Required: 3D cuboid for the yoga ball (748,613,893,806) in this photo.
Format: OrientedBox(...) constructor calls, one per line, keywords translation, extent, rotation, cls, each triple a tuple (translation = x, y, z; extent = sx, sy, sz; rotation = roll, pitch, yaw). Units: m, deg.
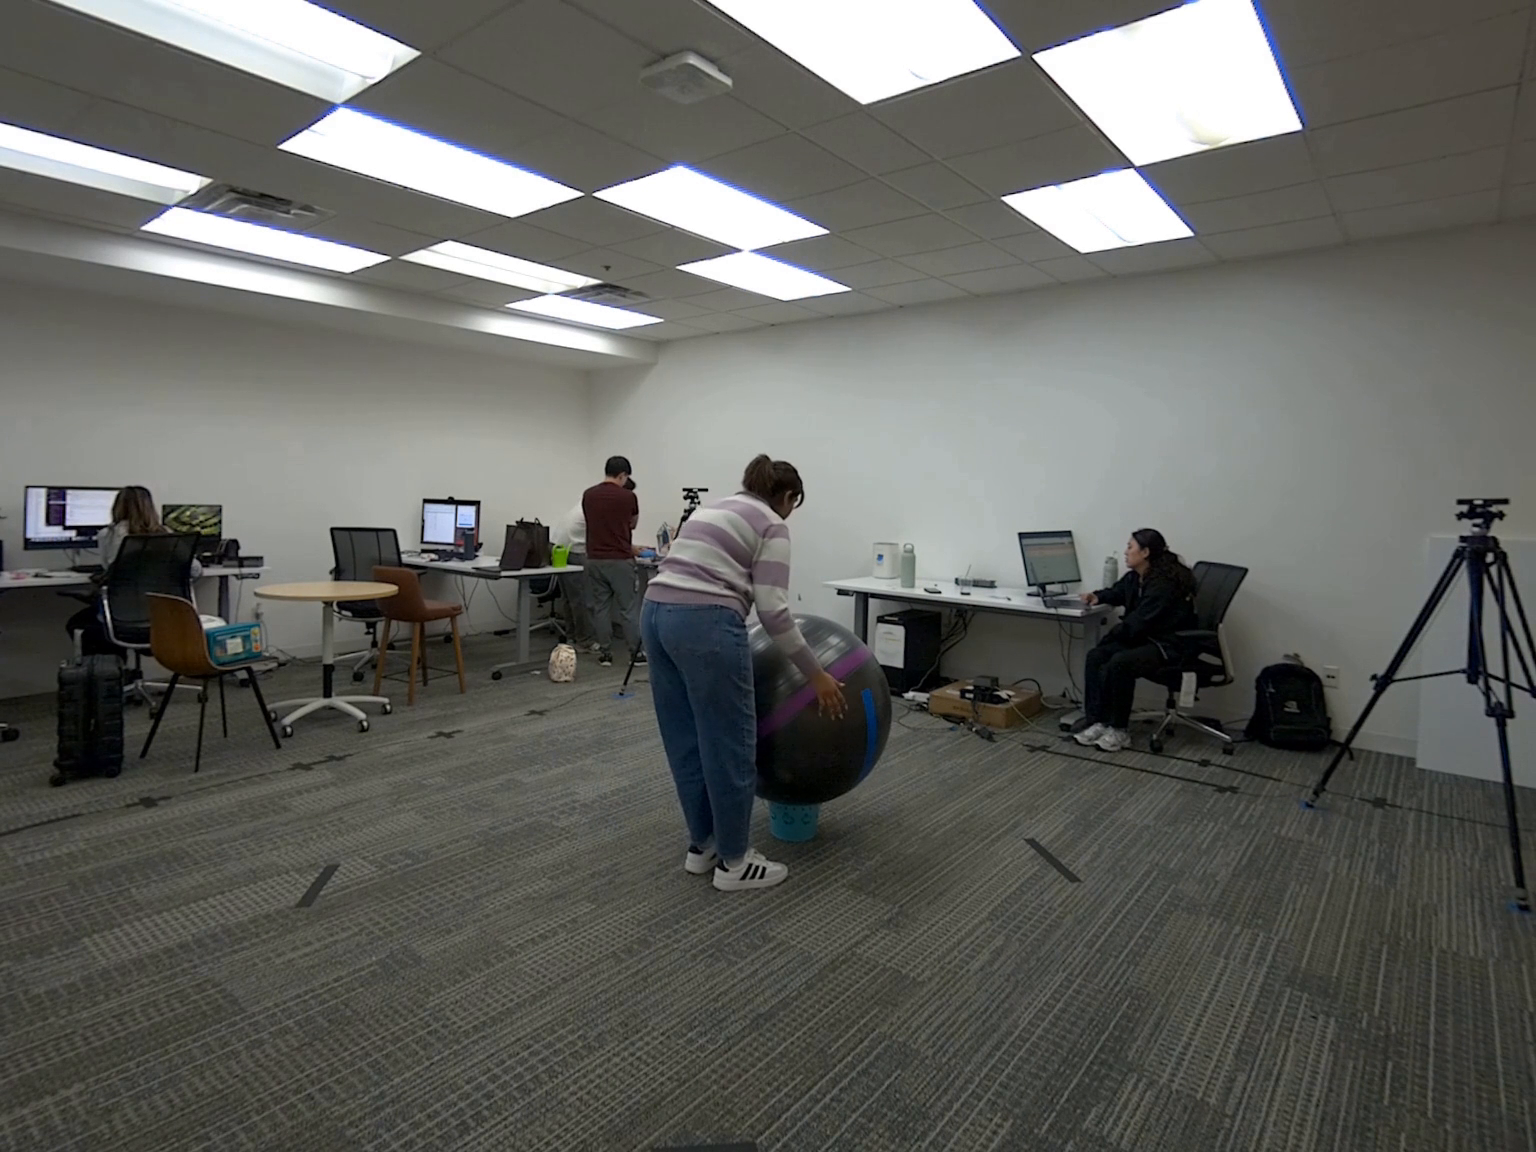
OrientedBox(translation=(0.122, 0.539, 3.455), extent=(0.757, 0.756, 0.761), rotation=(1, 4, -2), cls="yoga ball")
